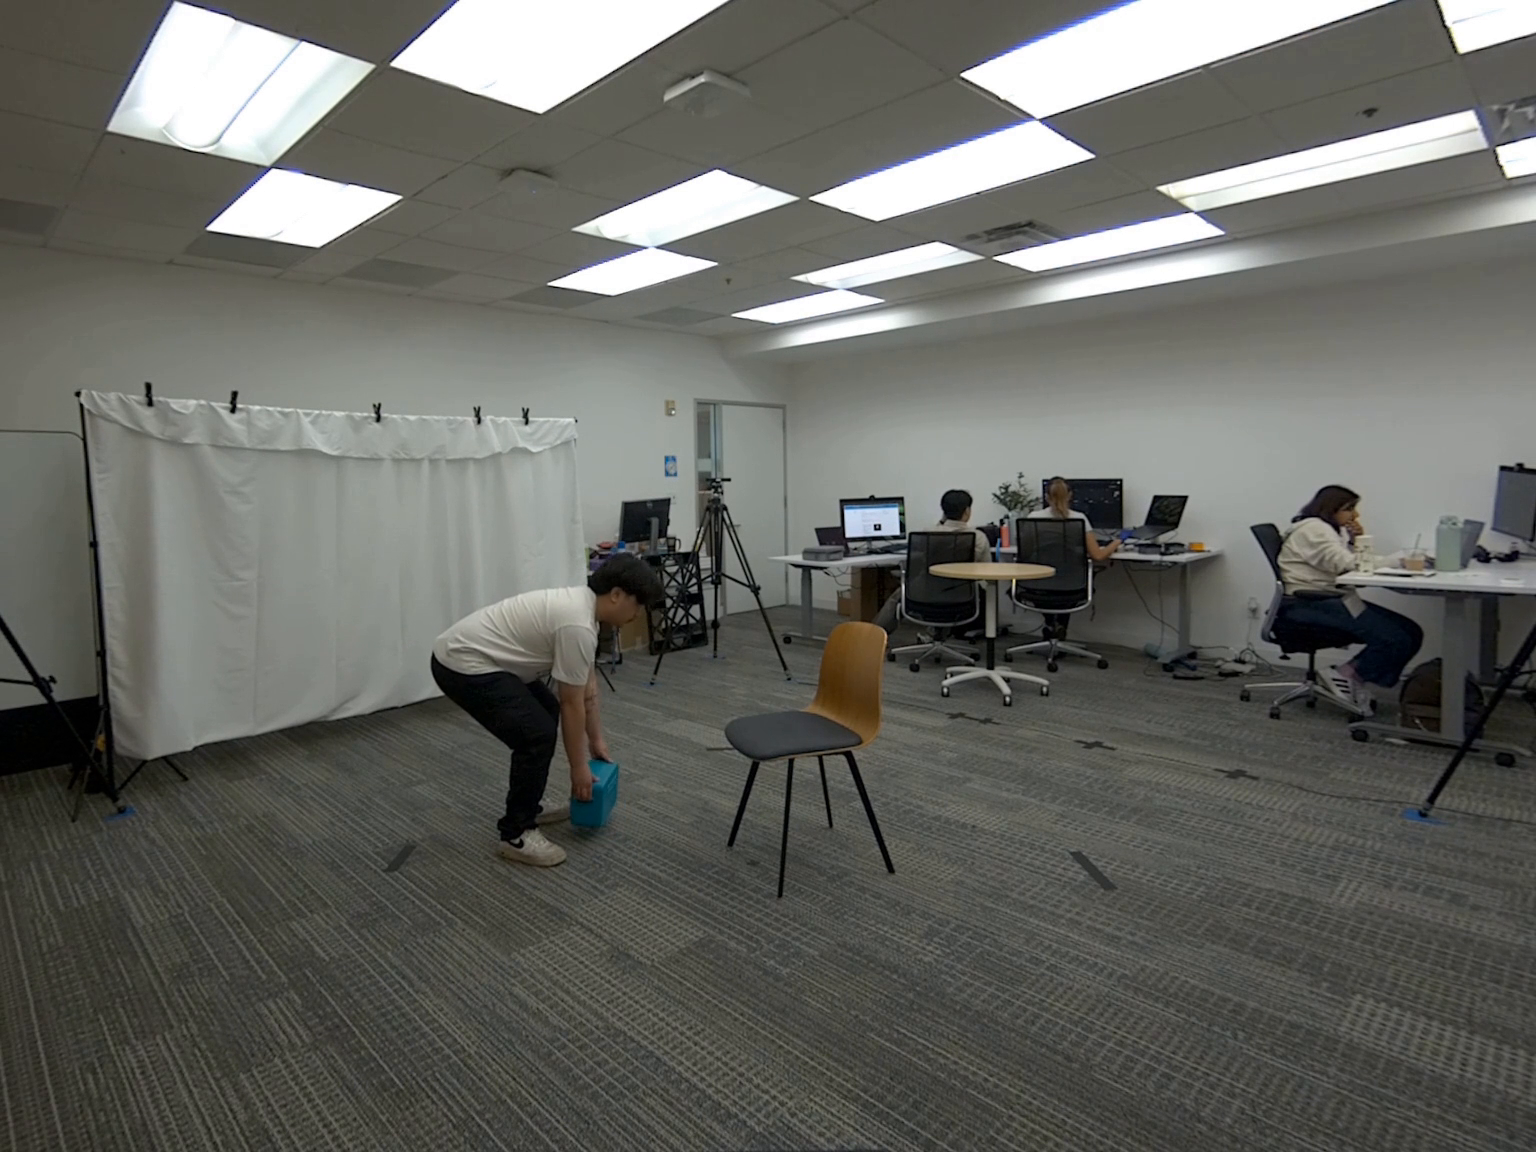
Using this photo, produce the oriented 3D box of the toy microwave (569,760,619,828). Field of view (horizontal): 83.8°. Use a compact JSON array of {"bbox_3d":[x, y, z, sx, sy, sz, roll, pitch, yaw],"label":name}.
[{"bbox_3d":[-0.702,0.870,3.433,0.153,0.183,0.287,3,7,1],"label":"toy microwave"}]
